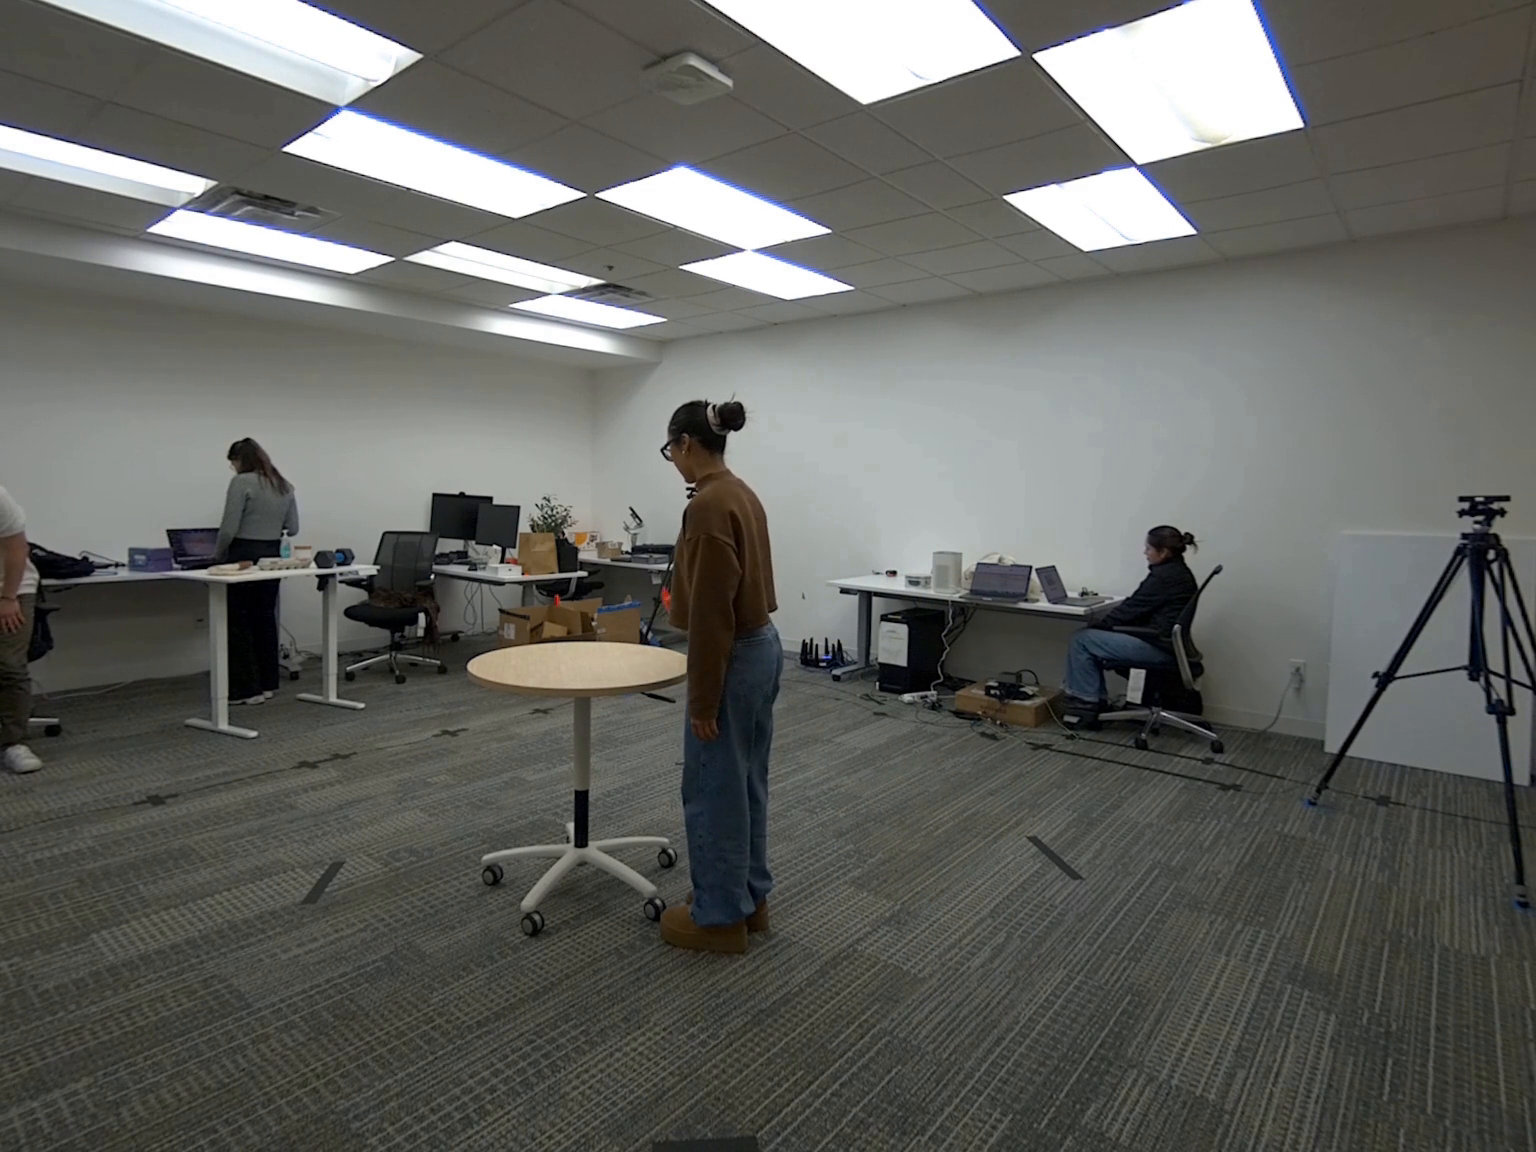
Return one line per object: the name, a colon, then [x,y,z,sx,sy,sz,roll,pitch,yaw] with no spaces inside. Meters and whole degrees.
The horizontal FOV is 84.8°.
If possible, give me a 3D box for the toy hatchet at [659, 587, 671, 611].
toy hatchet: [-0.329,0.168,3.141,0.029,0.127,0.281,-21,50,-19]
